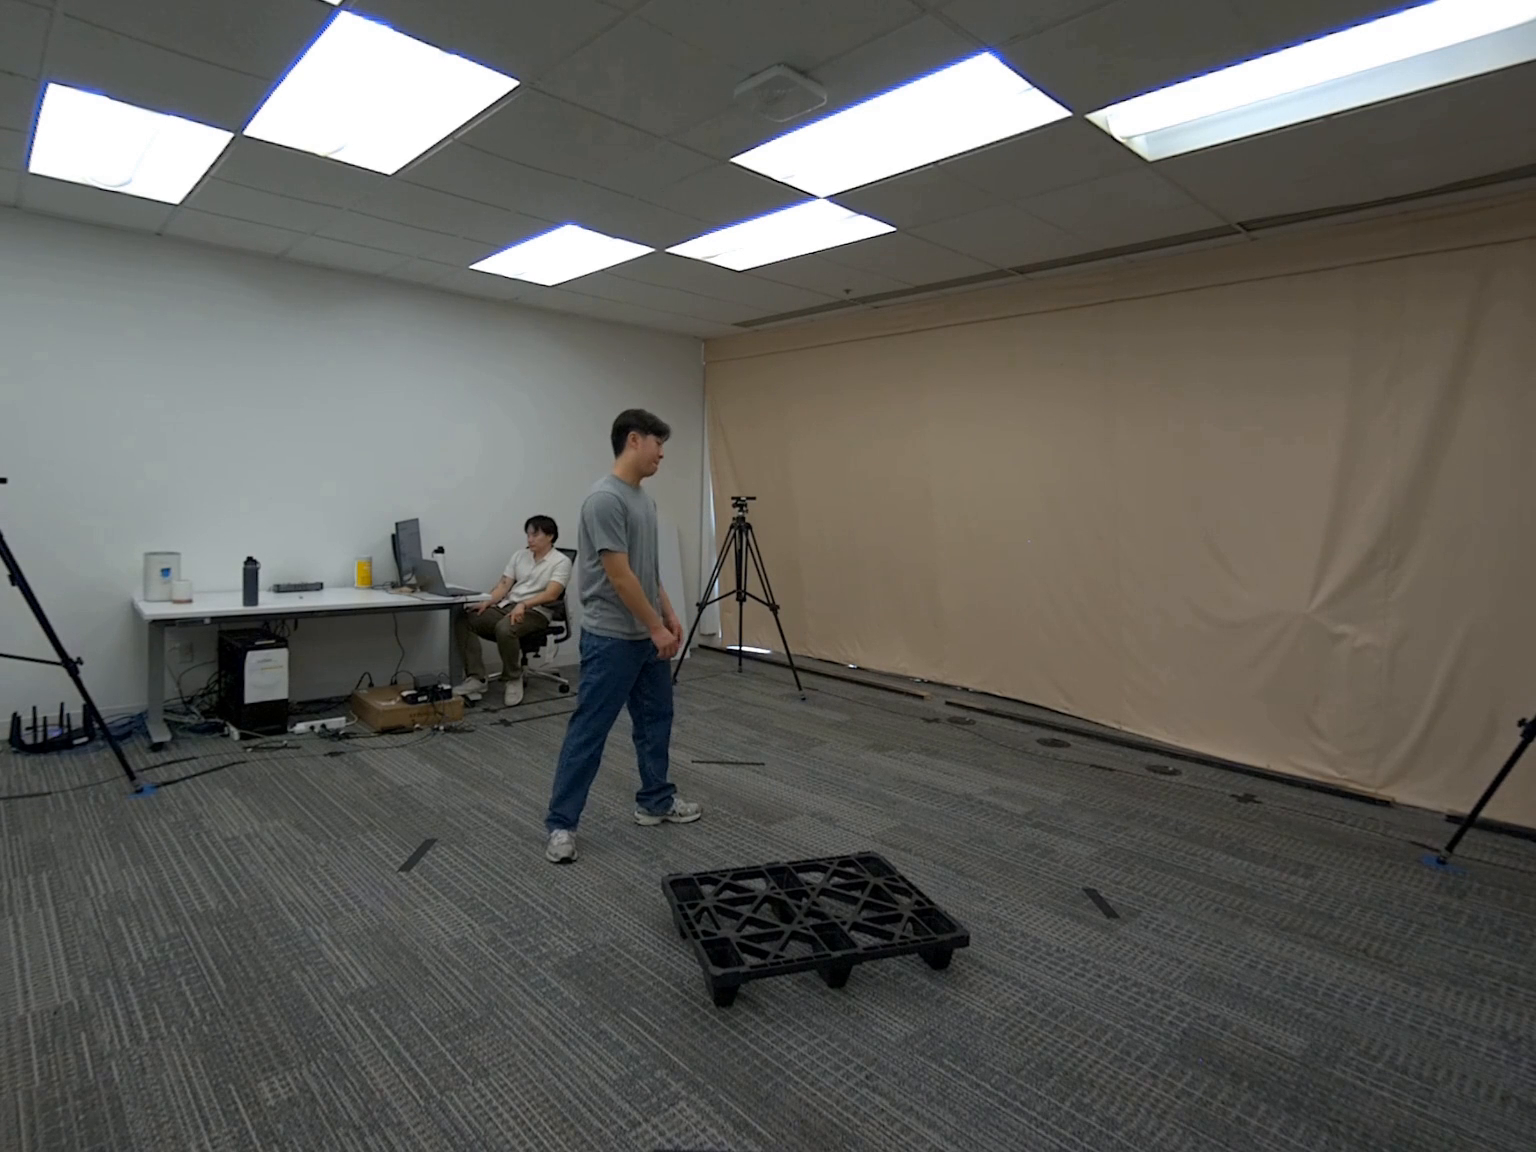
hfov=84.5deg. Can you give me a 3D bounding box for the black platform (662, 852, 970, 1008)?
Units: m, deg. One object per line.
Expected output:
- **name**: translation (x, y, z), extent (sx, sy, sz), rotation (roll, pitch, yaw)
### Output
- **black platform**: translation (0.109, 1.088, 2.629), extent (0.794, 0.143, 0.616), rotation (0, 5, -19)
